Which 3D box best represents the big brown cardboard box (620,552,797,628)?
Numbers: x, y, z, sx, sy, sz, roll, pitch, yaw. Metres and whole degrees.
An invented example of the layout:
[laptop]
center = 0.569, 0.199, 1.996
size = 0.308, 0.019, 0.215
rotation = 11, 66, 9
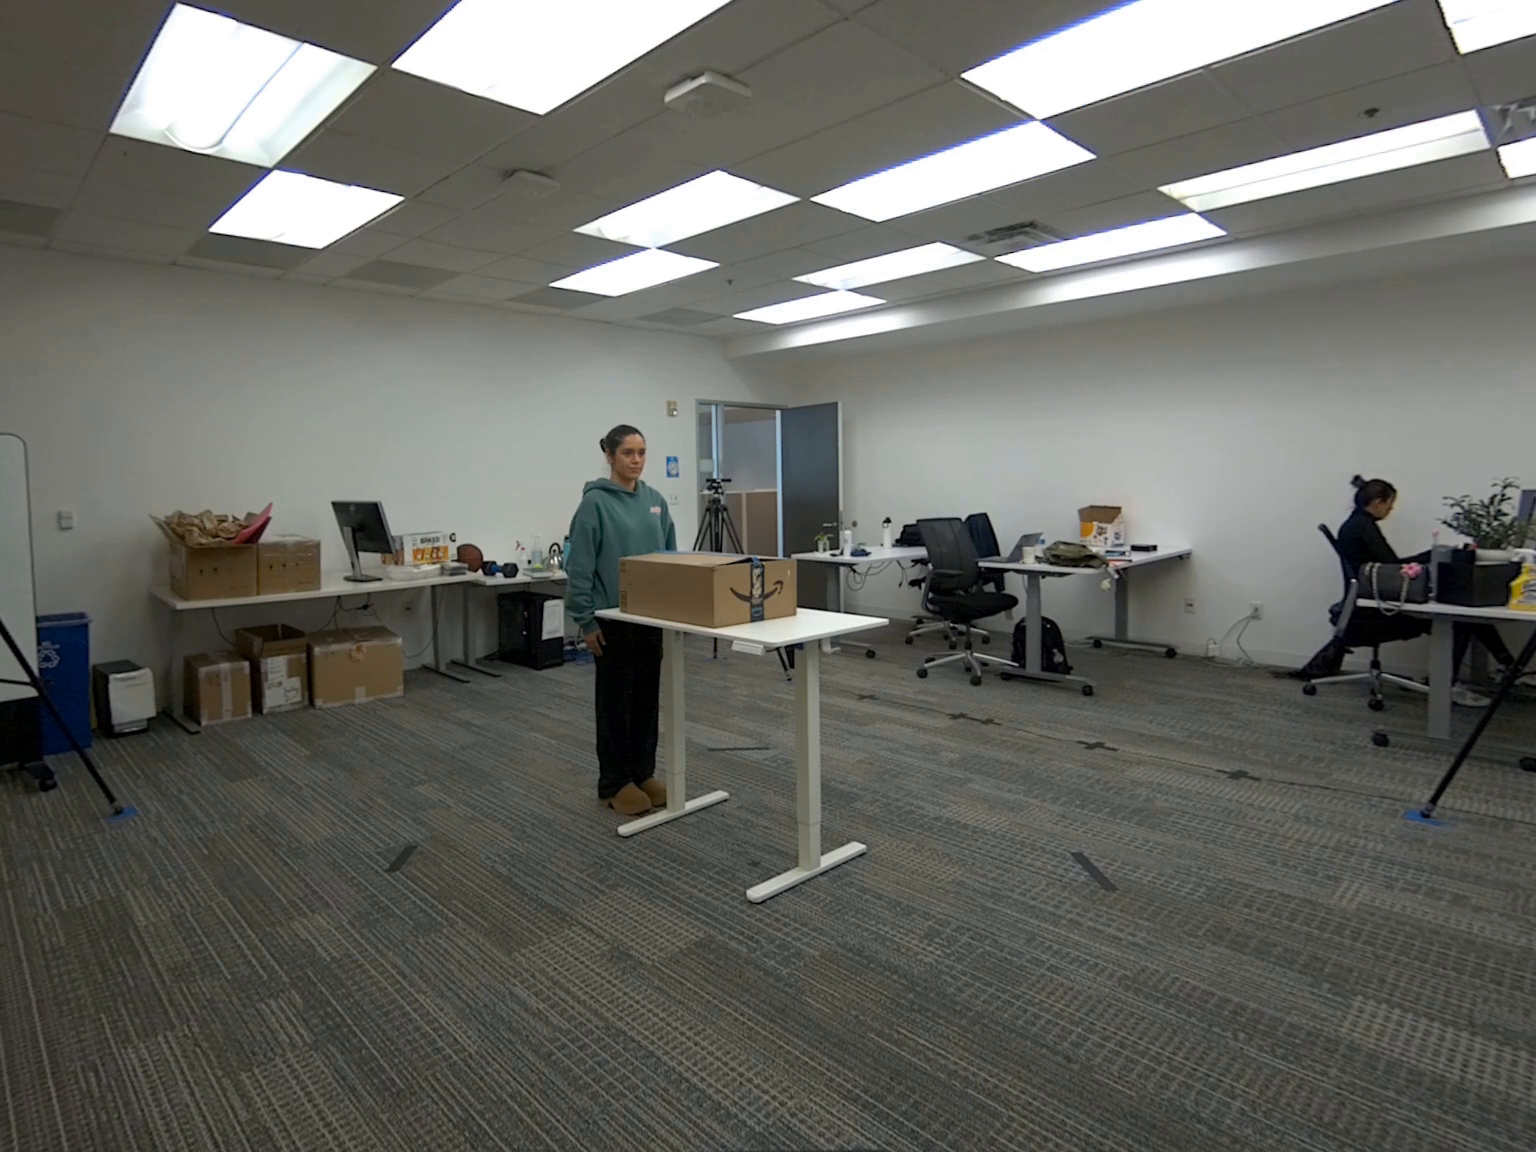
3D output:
[big brown cardboard box]
center = -0.233, 0.038, 3.270
size = 0.406, 0.232, 0.607
rotation = -6, 7, -43
